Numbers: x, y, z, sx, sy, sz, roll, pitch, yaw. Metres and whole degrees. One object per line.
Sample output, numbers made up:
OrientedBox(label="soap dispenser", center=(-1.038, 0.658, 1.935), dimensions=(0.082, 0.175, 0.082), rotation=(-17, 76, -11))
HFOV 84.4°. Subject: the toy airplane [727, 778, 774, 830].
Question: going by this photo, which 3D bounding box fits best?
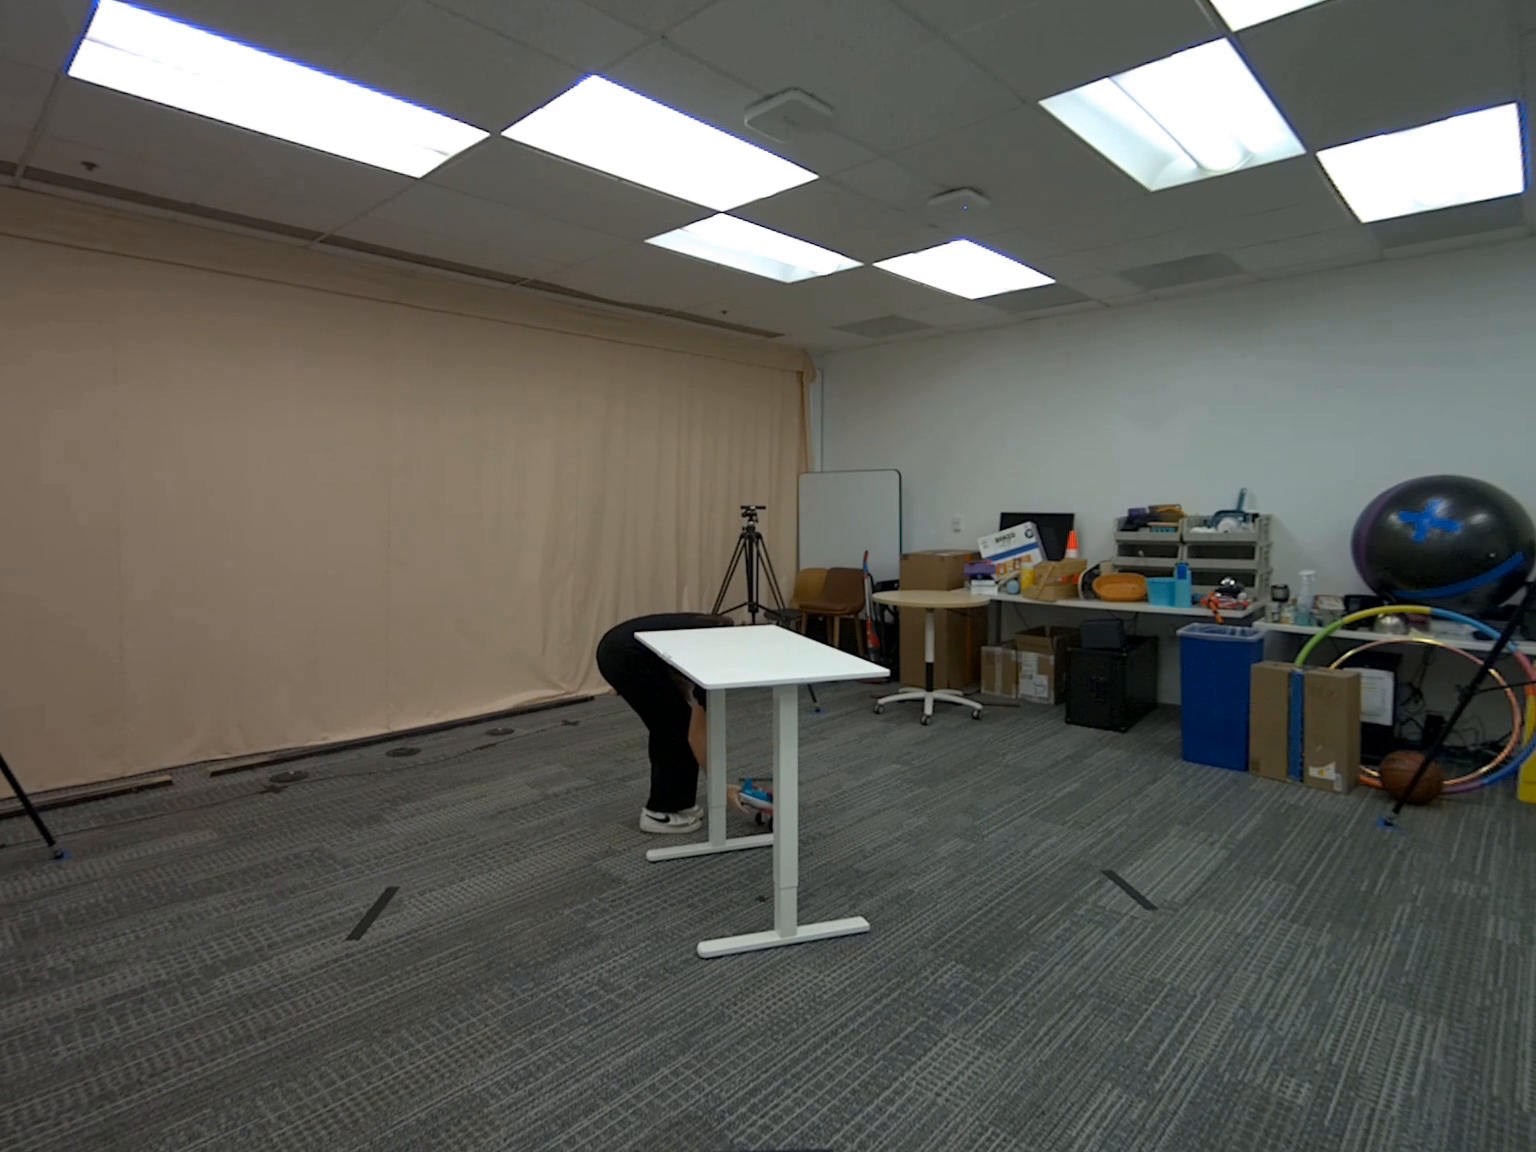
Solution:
OrientedBox(label="toy airplane", center=(-0.015, 0.977, 3.596), dimensions=(0.258, 0.156, 0.252), rotation=(20, -24, 26))
